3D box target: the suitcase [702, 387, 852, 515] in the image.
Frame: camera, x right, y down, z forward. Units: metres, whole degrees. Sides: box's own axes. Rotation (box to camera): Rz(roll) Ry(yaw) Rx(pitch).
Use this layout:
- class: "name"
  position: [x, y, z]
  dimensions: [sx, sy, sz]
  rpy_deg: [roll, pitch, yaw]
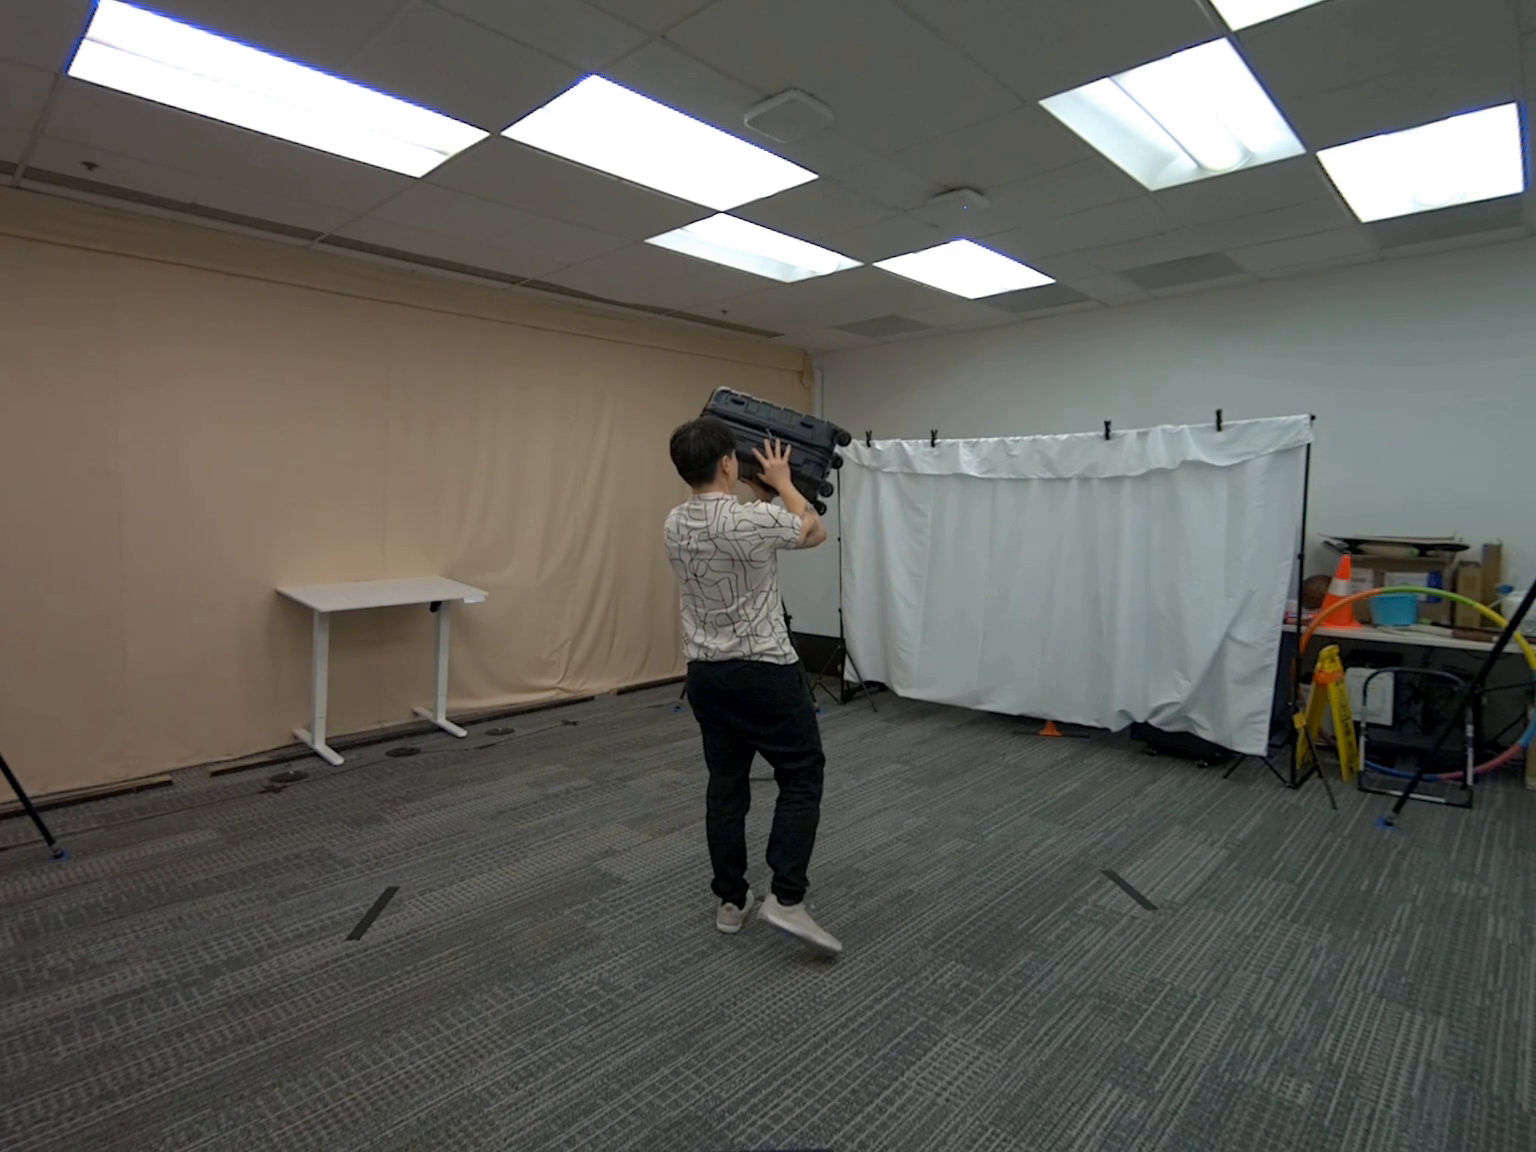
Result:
- class: "suitcase"
  position: [0.009, -0.479, 3.124]
  dimensions: [0.554, 0.249, 0.371]
  rpy_deg: [20, -9, 7]
